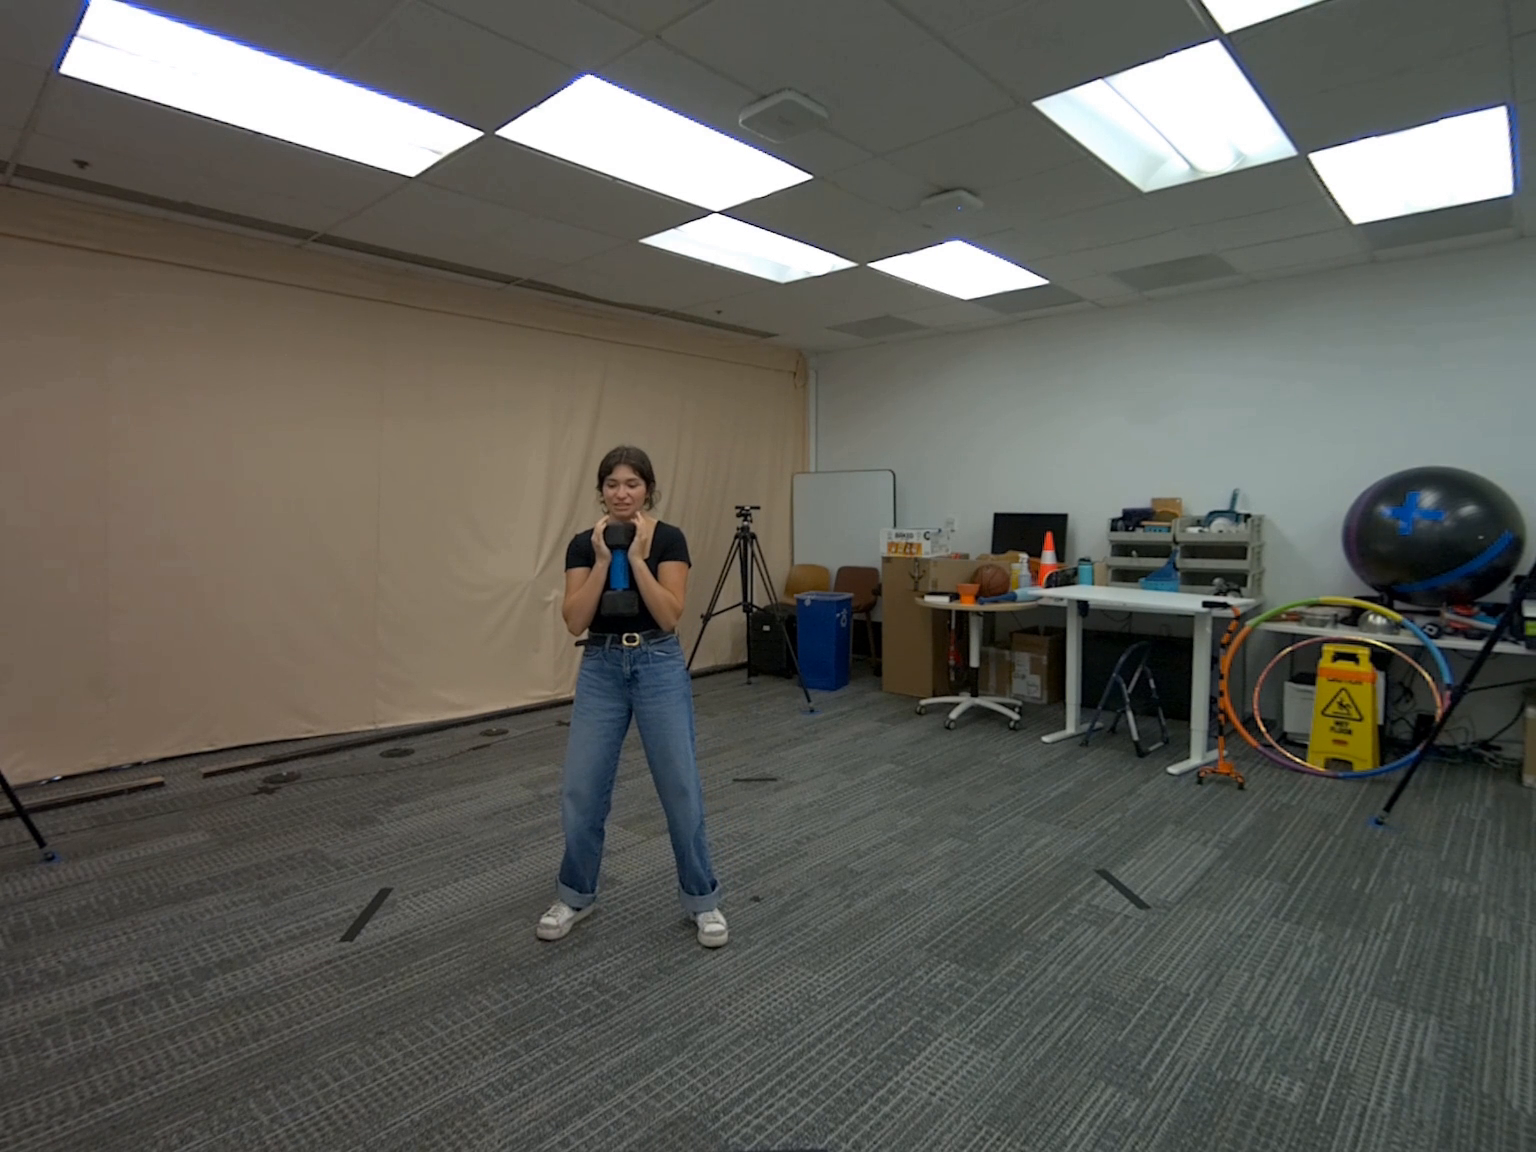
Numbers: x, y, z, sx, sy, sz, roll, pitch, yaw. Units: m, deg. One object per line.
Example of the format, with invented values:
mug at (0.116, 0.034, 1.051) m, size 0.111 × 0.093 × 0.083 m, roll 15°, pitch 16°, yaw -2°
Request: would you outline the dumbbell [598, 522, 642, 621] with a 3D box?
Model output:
dumbbell at (-0.466, -0.019, 2.660) m, size 0.111 × 0.293 × 0.120 m, roll -2°, pitch 1°, yaw 20°
